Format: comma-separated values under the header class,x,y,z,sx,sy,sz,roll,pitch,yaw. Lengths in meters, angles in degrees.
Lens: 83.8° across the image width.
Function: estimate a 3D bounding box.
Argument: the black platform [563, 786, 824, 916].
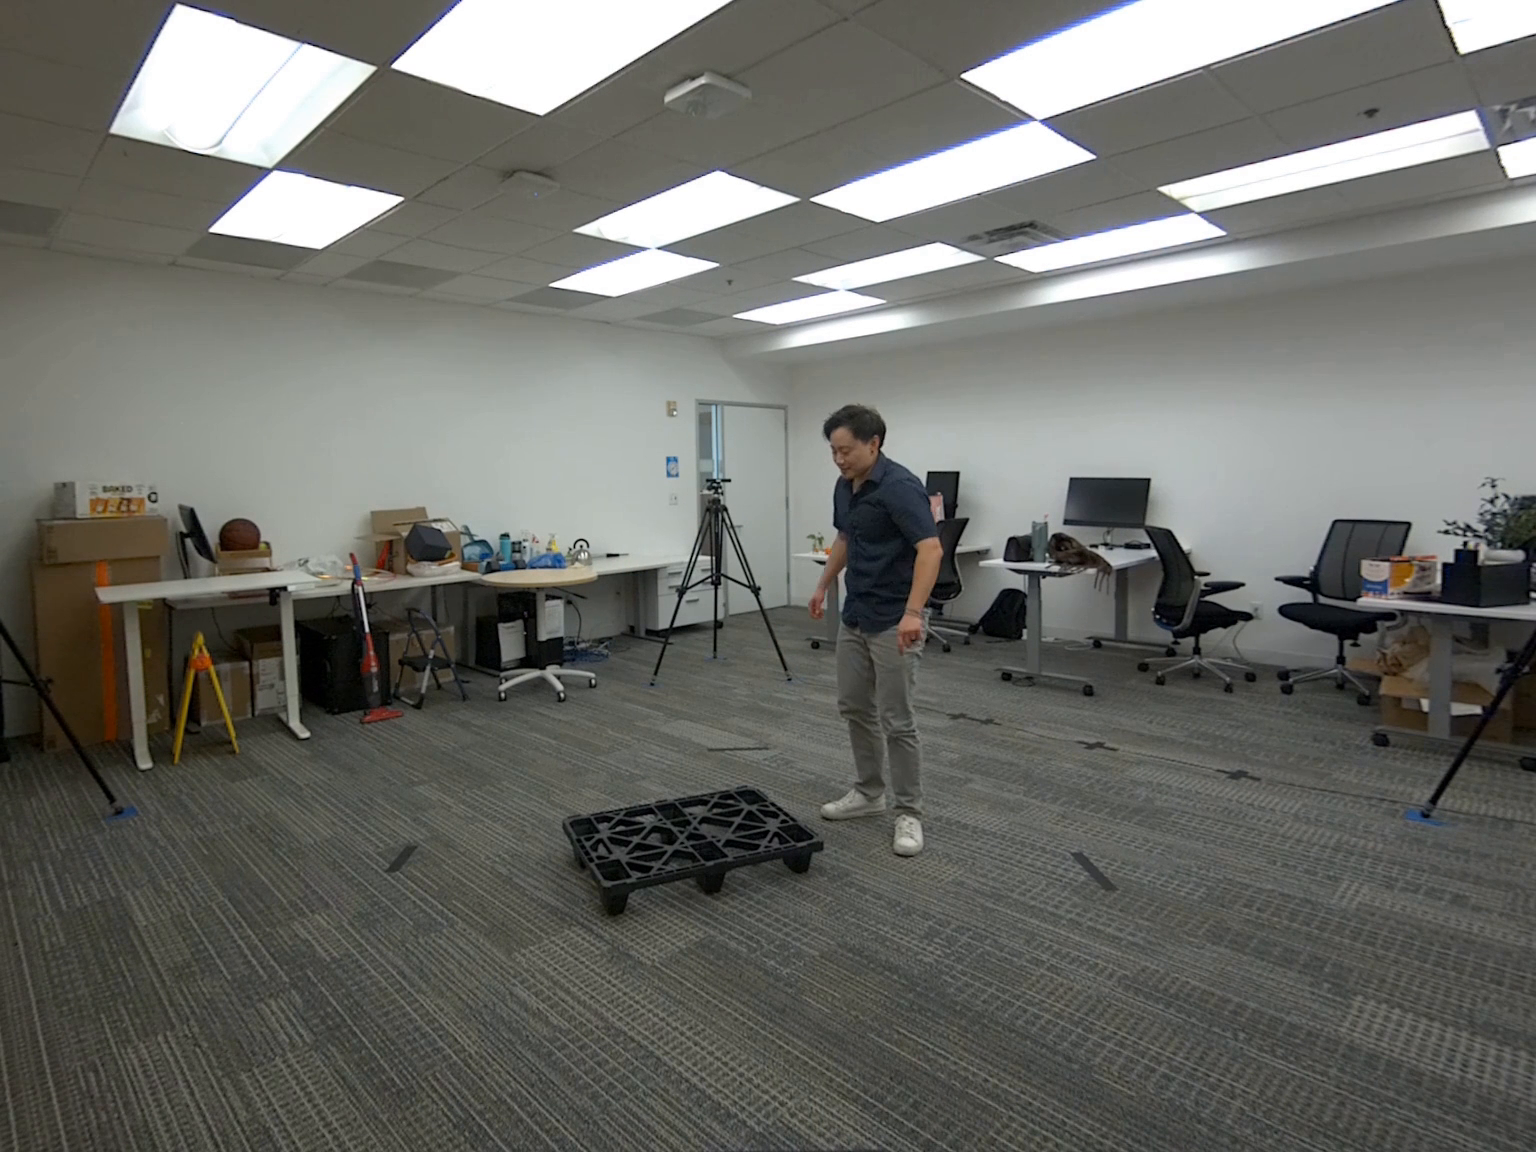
class,x,y,z,sx,sy,sz,roll,pitch,yaw
black platform,-0.290,0.983,3.101,0.789,0.143,0.620,-4,7,-24
